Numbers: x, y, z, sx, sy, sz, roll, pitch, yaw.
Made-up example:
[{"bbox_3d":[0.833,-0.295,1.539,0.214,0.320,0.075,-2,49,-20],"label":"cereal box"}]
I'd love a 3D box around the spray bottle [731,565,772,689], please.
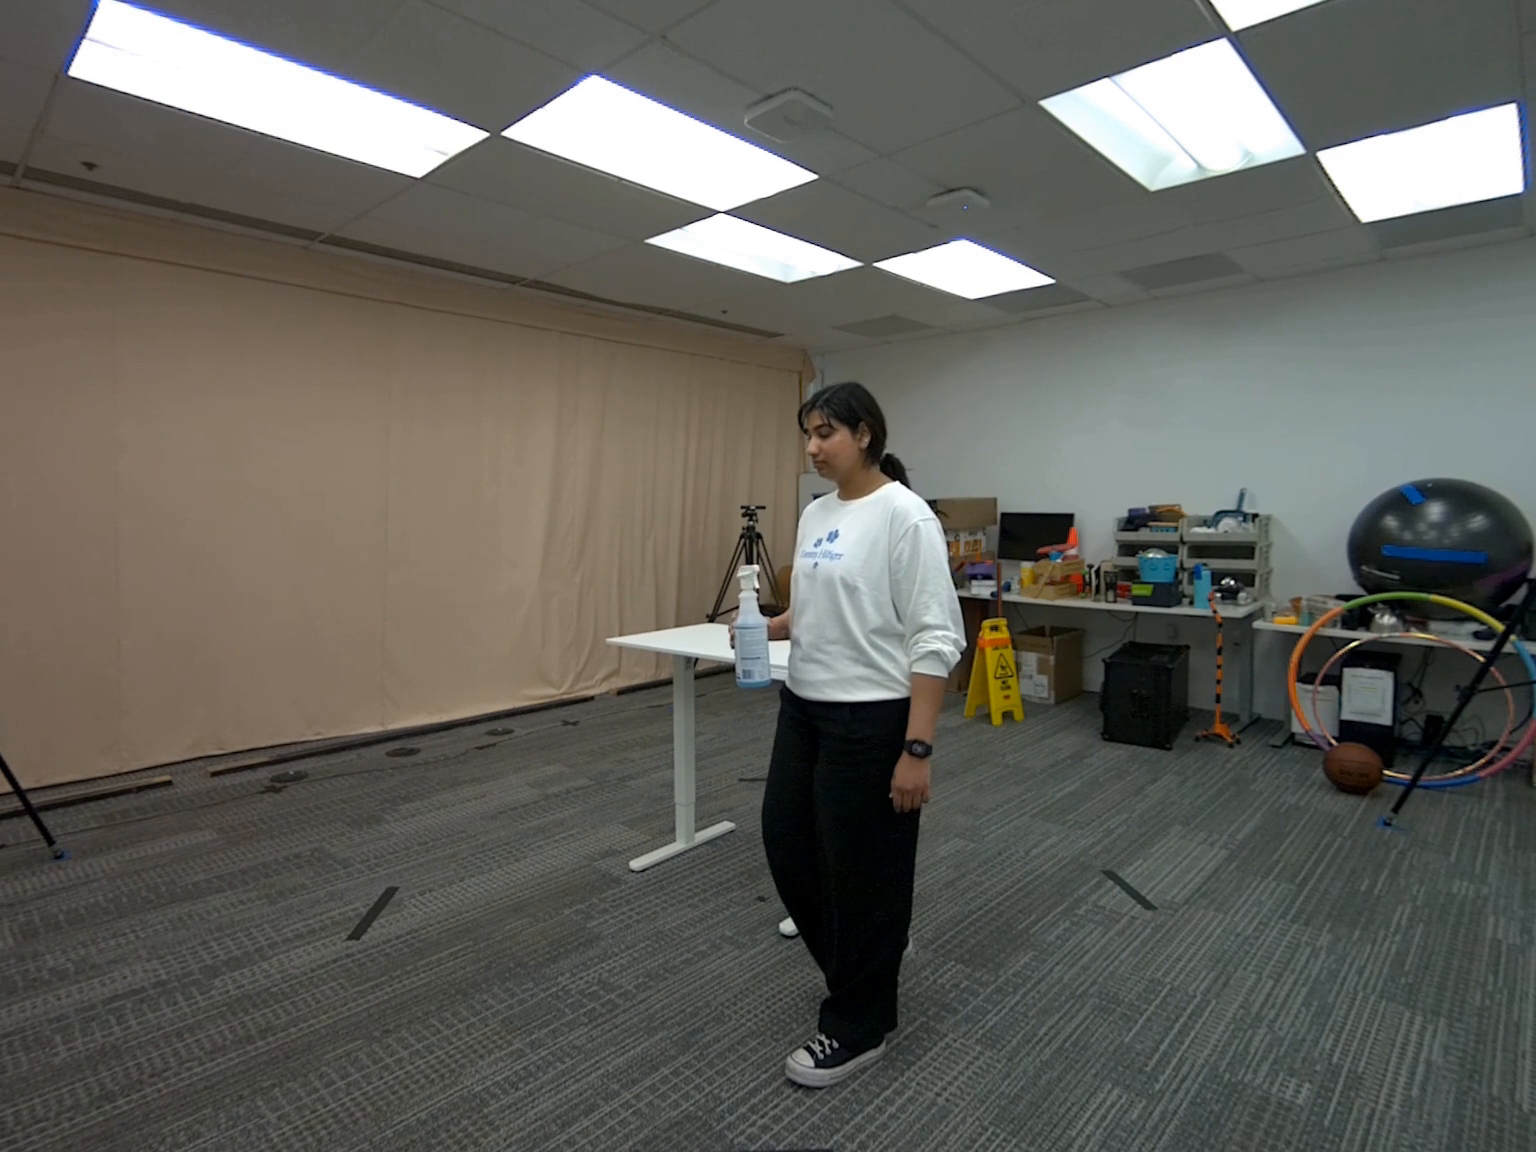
[{"bbox_3d":[-0.026,0.126,2.061,0.086,0.297,0.091,0,3,-8],"label":"spray bottle"}]
